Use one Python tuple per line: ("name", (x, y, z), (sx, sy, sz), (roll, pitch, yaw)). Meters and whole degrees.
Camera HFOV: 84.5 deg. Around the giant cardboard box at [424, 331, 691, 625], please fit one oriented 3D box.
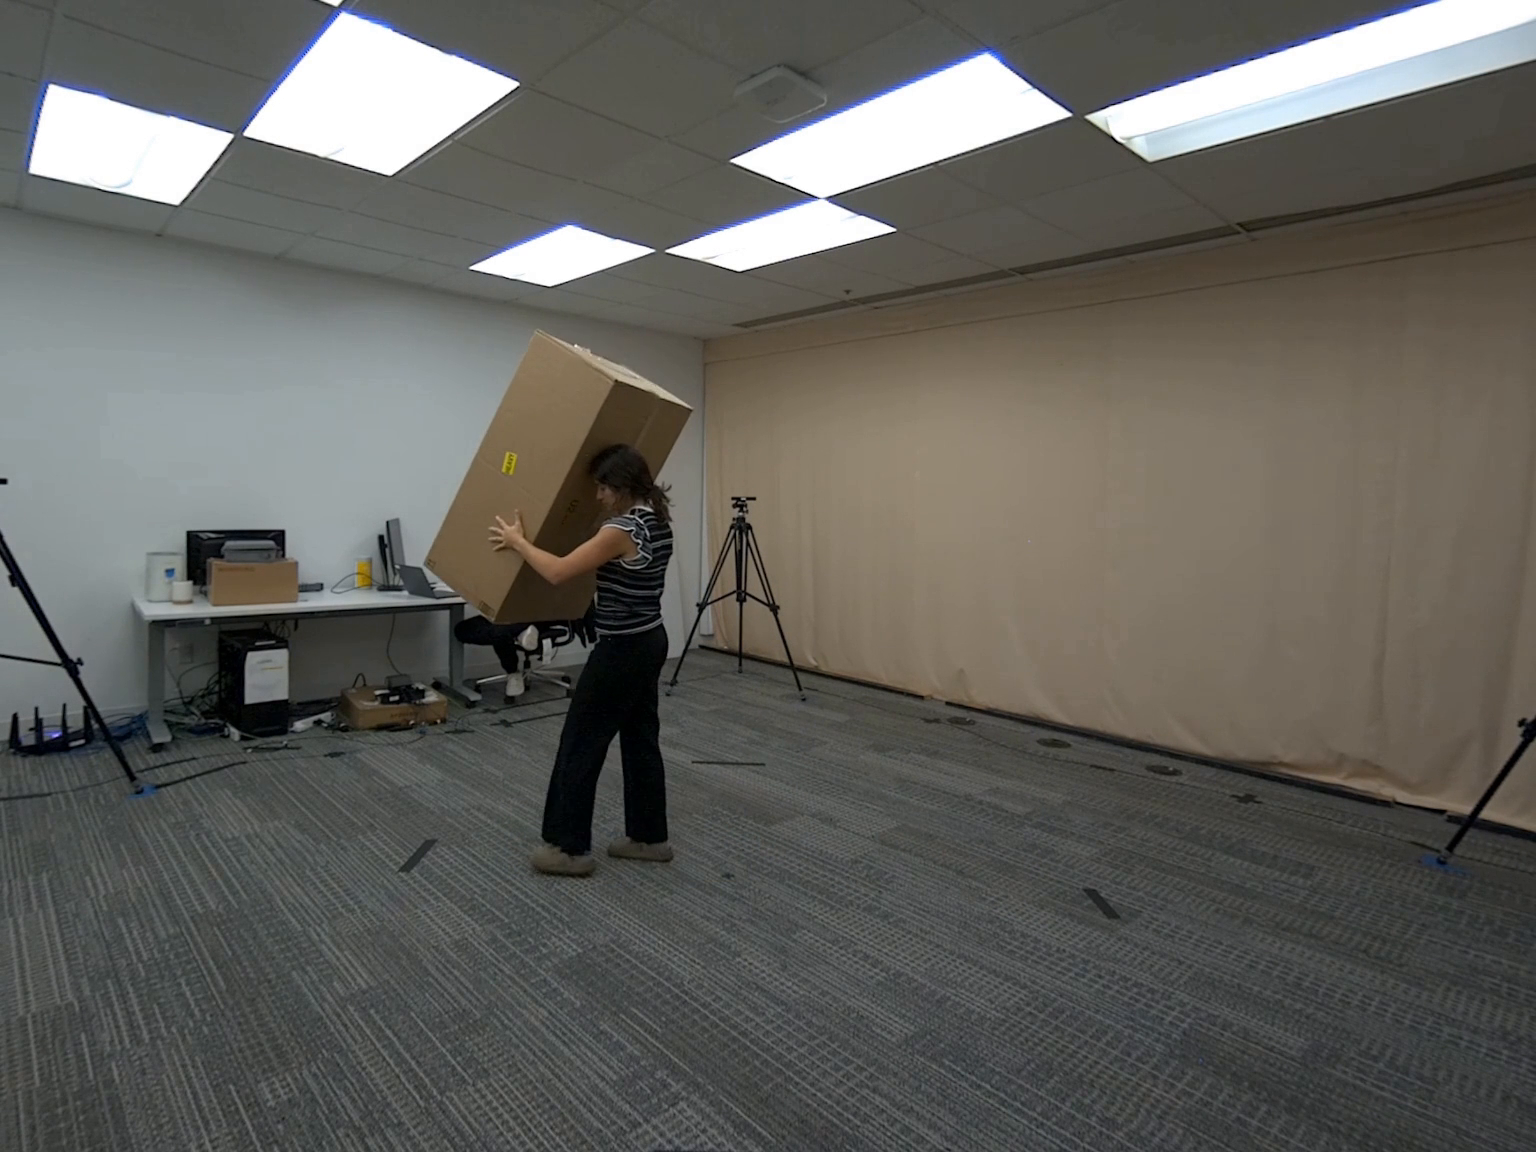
("giant cardboard box", (-0.827, -0.360, 3.357), (0.436, 1.022, 0.566), (35, 13, 22))
